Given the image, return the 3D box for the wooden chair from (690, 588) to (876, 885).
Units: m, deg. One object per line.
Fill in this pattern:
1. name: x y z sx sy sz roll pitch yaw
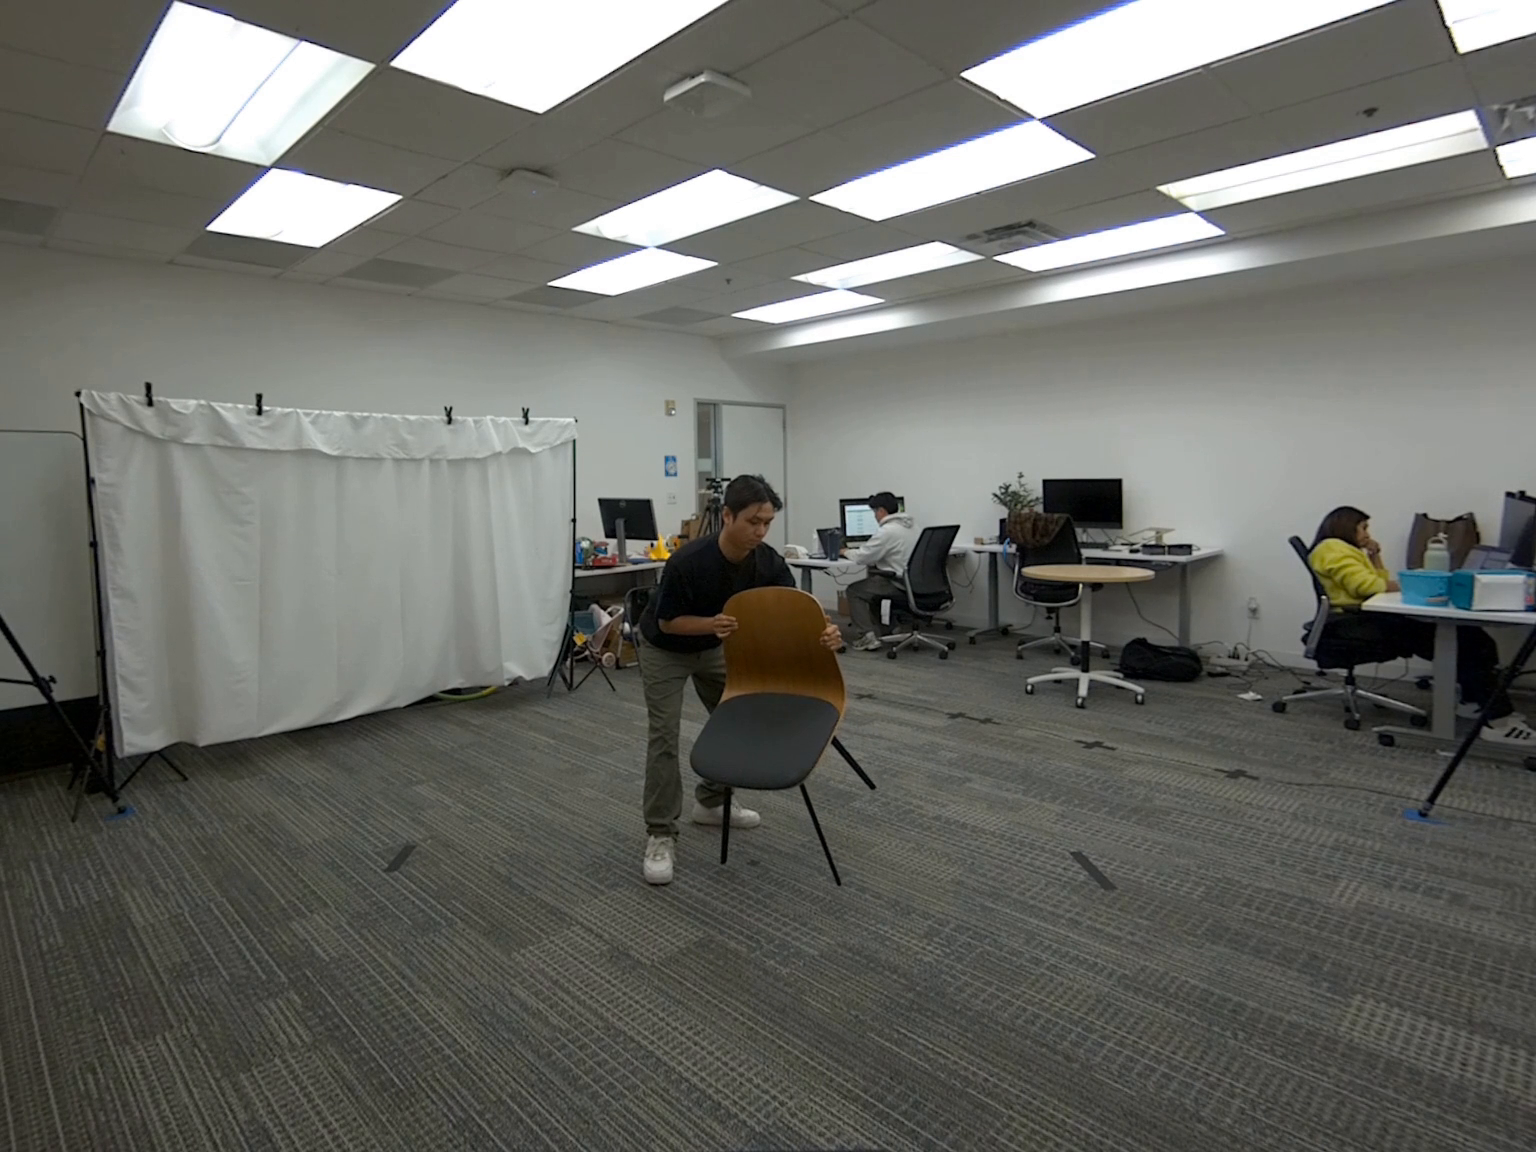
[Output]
1. wooden chair: 0.018 0.549 2.912 0.490 0.858 0.522 0 26 27
